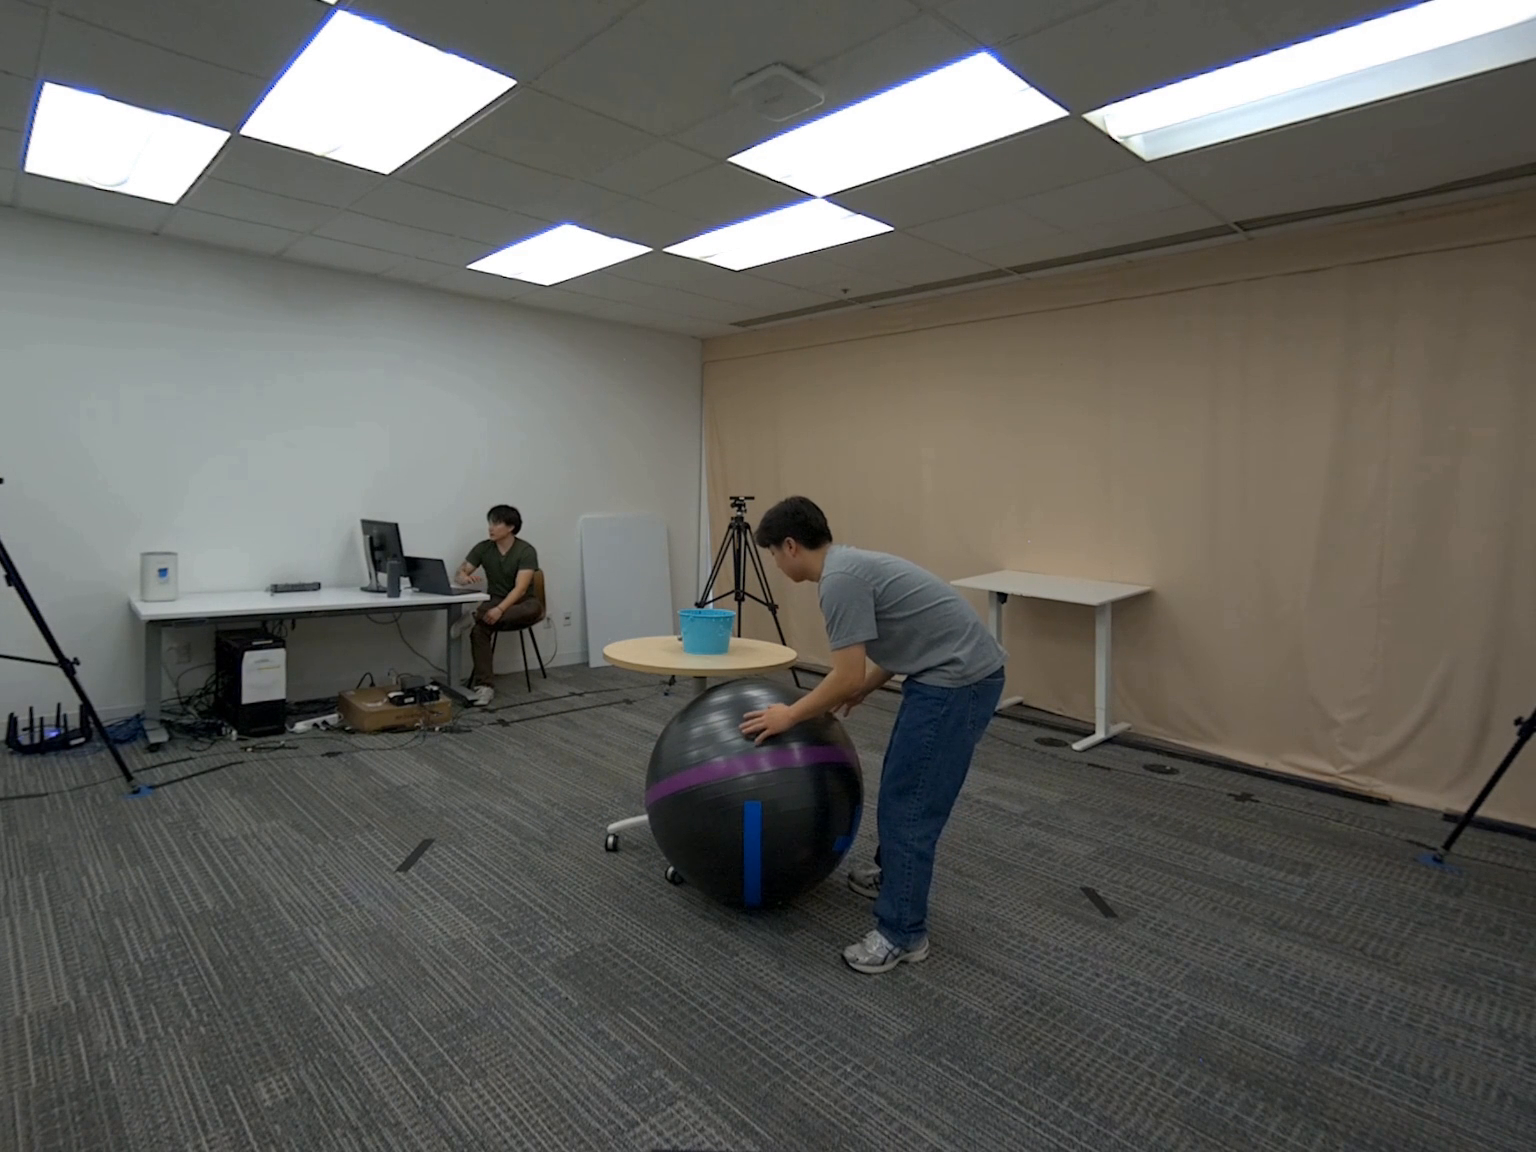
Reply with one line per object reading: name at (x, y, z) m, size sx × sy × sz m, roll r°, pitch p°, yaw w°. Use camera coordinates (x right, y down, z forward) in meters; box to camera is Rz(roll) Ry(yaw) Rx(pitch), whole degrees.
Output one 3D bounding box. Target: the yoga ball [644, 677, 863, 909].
yoga ball at (-0.055, 0.752, 2.935) m, size 0.757 × 0.756 × 0.761 m, roll 1°, pitch 4°, yaw -1°
